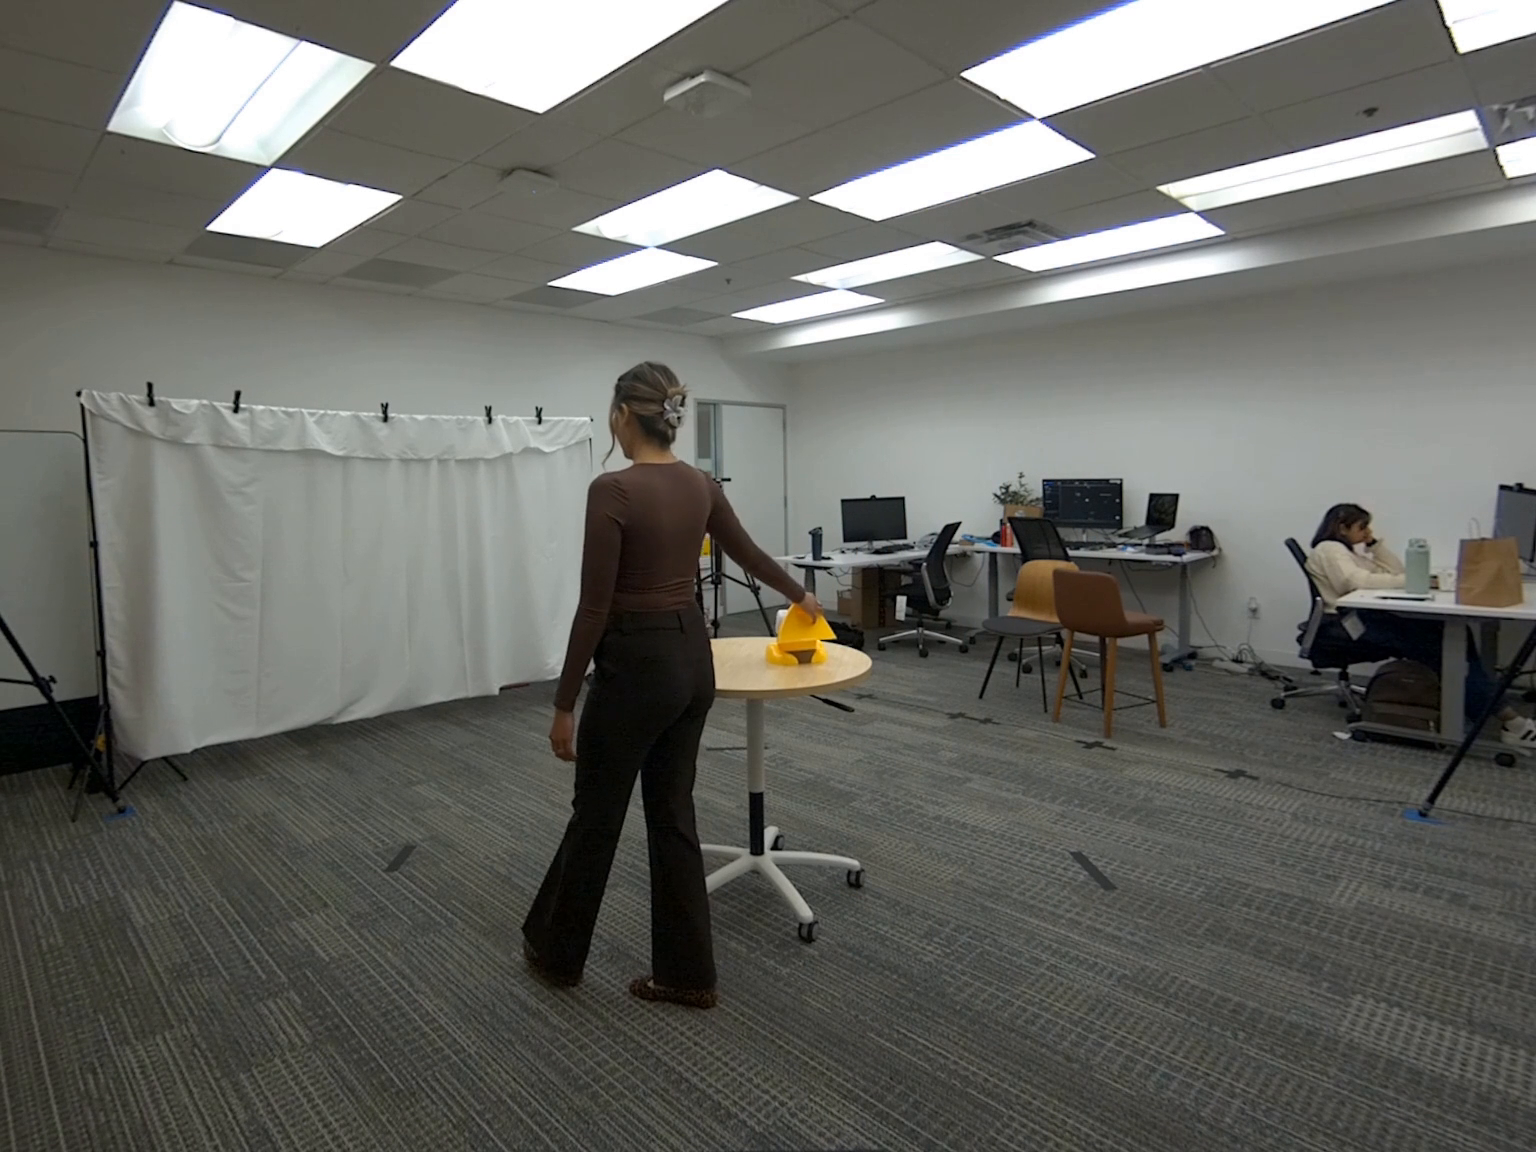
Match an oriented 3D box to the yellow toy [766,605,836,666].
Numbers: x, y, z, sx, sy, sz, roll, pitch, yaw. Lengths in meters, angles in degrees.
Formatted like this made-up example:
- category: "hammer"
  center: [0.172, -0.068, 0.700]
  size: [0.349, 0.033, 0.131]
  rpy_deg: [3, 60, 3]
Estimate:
- category: "yellow toy"
  center: [0.096, 0.162, 2.812]
  size: [0.201, 0.229, 0.197]
  rpy_deg: [-3, 6, -18]
